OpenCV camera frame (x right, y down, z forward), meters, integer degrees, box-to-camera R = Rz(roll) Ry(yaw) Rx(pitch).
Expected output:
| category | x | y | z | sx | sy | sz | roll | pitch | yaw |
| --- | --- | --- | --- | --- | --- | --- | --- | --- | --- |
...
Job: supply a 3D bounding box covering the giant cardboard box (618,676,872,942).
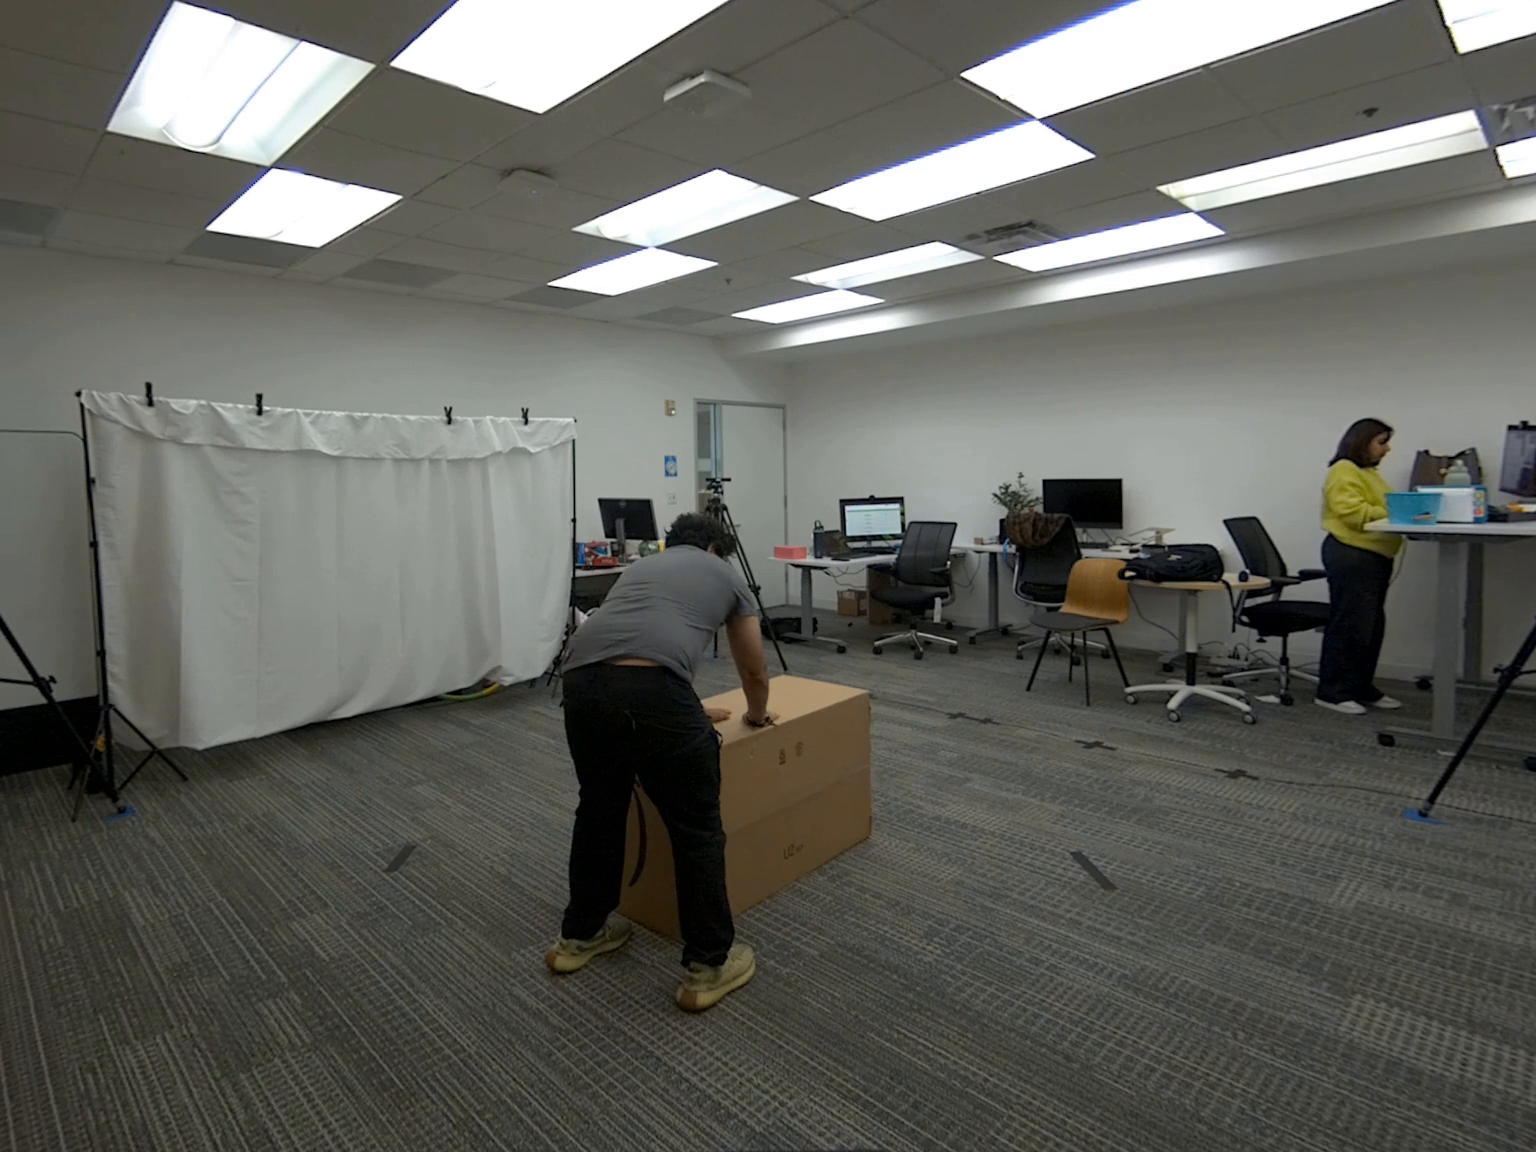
| category | x | y | z | sx | sy | sz | roll | pitch | yaw |
| --- | --- | --- | --- | --- | --- | --- | --- | --- | --- |
| giant cardboard box | -0.088 | 0.759 | 3.063 | 0.439 | 0.575 | 1.000 | 3 | 7 | 40 |
